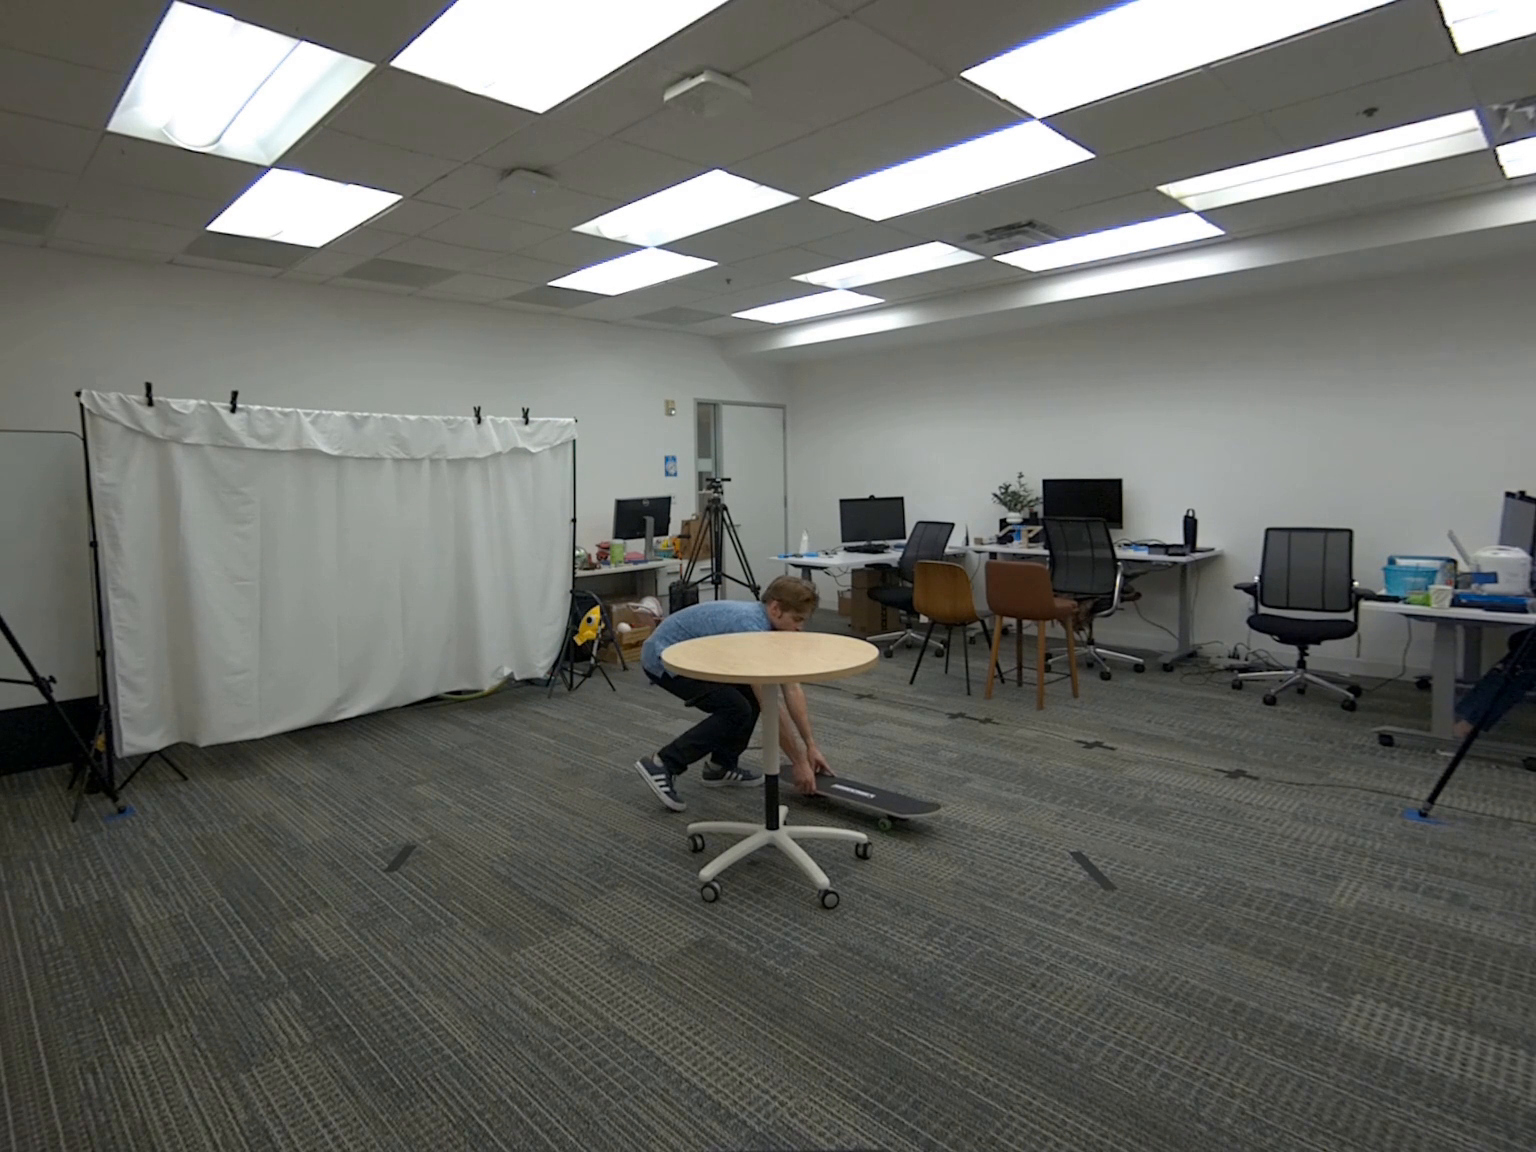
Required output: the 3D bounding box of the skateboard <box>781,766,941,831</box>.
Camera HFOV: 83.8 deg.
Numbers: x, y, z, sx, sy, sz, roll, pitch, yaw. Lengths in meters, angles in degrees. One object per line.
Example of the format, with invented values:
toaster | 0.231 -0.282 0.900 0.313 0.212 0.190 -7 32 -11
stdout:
skateboard | 0.359 0.927 3.559 0.810 0.110 0.188 5 8 40
